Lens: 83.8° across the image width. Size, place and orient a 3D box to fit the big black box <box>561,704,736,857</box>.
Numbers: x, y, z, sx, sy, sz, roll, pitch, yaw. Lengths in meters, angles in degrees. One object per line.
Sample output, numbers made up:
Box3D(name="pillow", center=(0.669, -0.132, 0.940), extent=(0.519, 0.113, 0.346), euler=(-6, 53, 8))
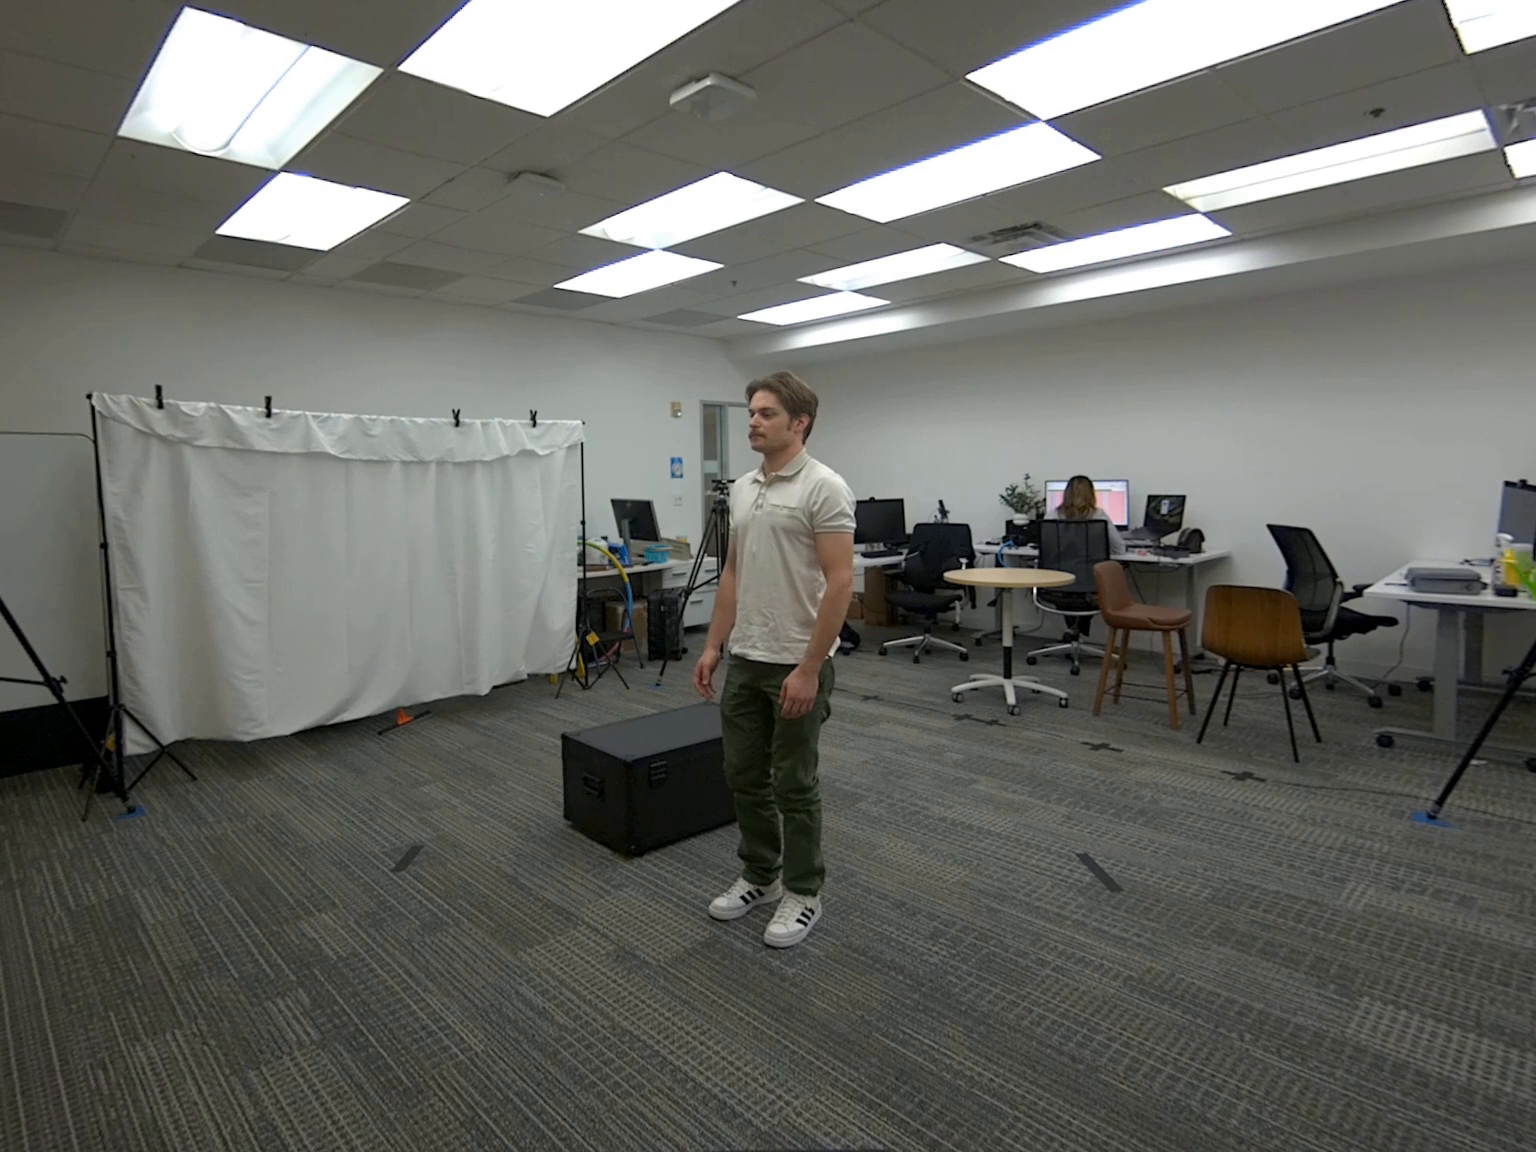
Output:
Box3D(name="big black box", center=(-0.363, 0.806, 3.577), extent=(0.846, 0.384, 0.539), euler=(-6, 6, -41))
